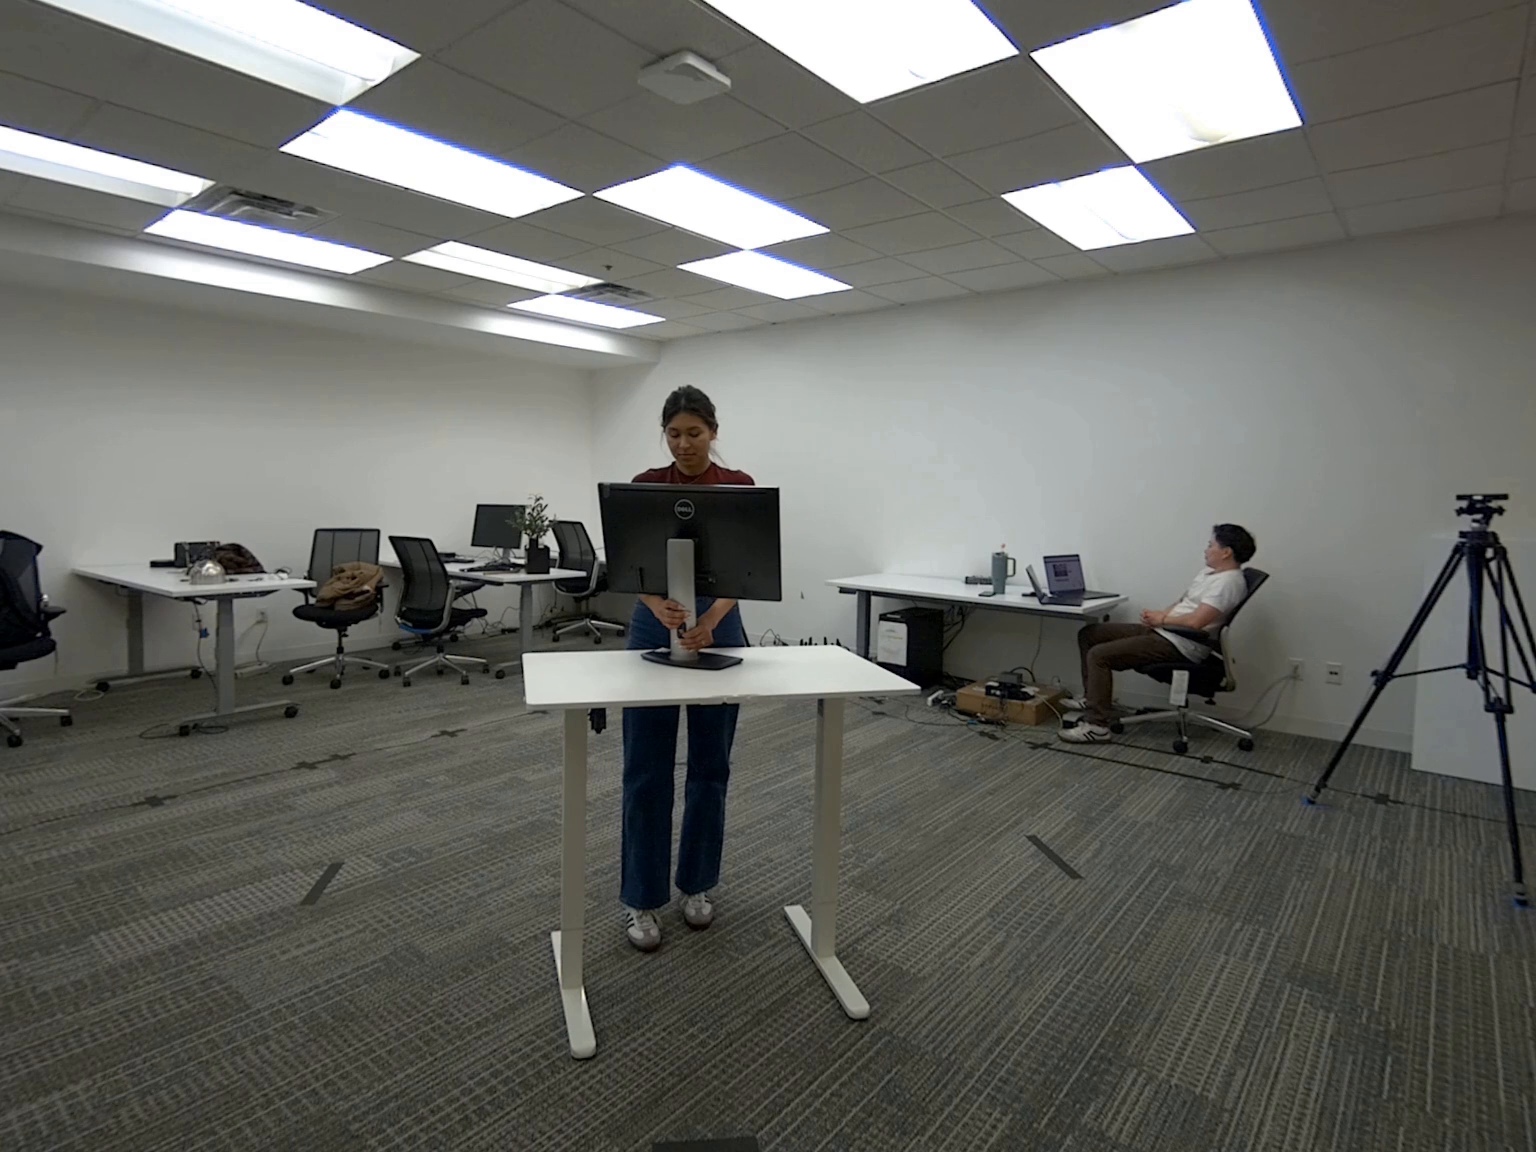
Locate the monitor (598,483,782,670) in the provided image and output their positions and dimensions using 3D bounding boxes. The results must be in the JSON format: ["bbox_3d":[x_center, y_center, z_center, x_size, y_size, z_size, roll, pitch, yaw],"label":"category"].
[{"bbox_3d":[-0.251,-0.004,2.459,0.545,0.519,0.186,2,6,11],"label":"monitor"}]
